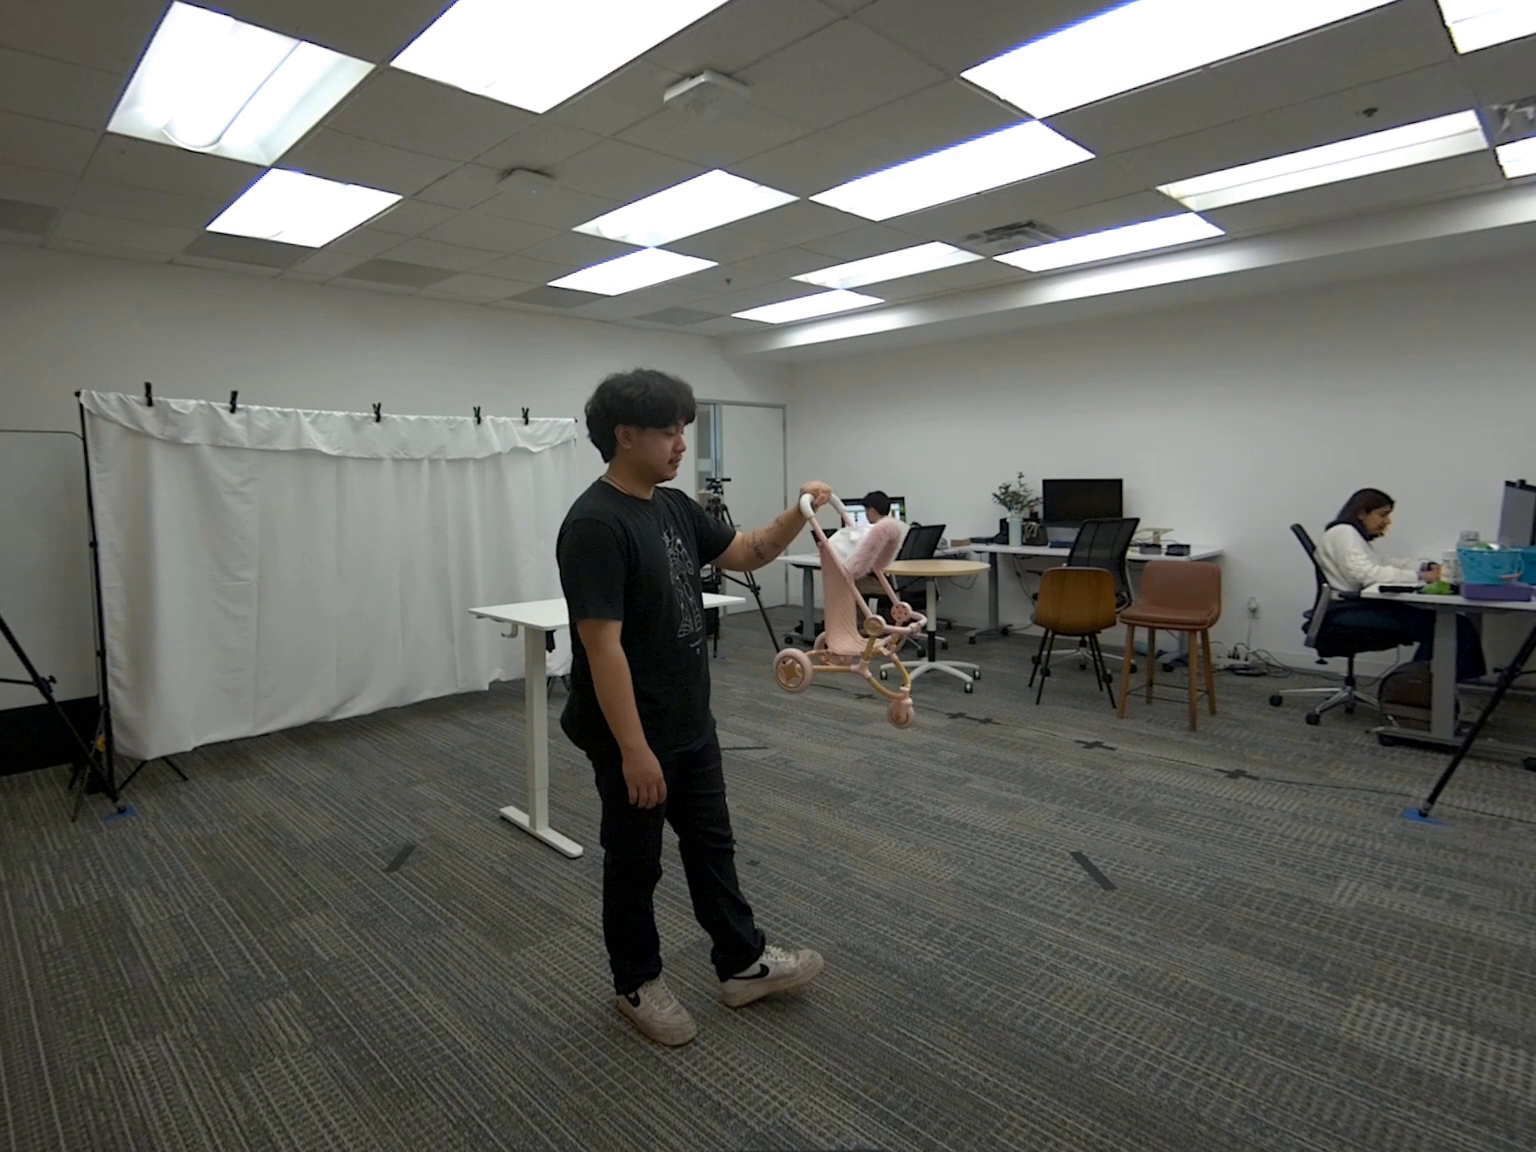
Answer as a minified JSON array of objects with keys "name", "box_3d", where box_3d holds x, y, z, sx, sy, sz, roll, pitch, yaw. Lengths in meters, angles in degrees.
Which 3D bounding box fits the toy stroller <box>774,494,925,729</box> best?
[{"name":"toy stroller","box_3d":[0.229,0.084,2.105,0.352,0.531,0.275,13,11,32]}]
